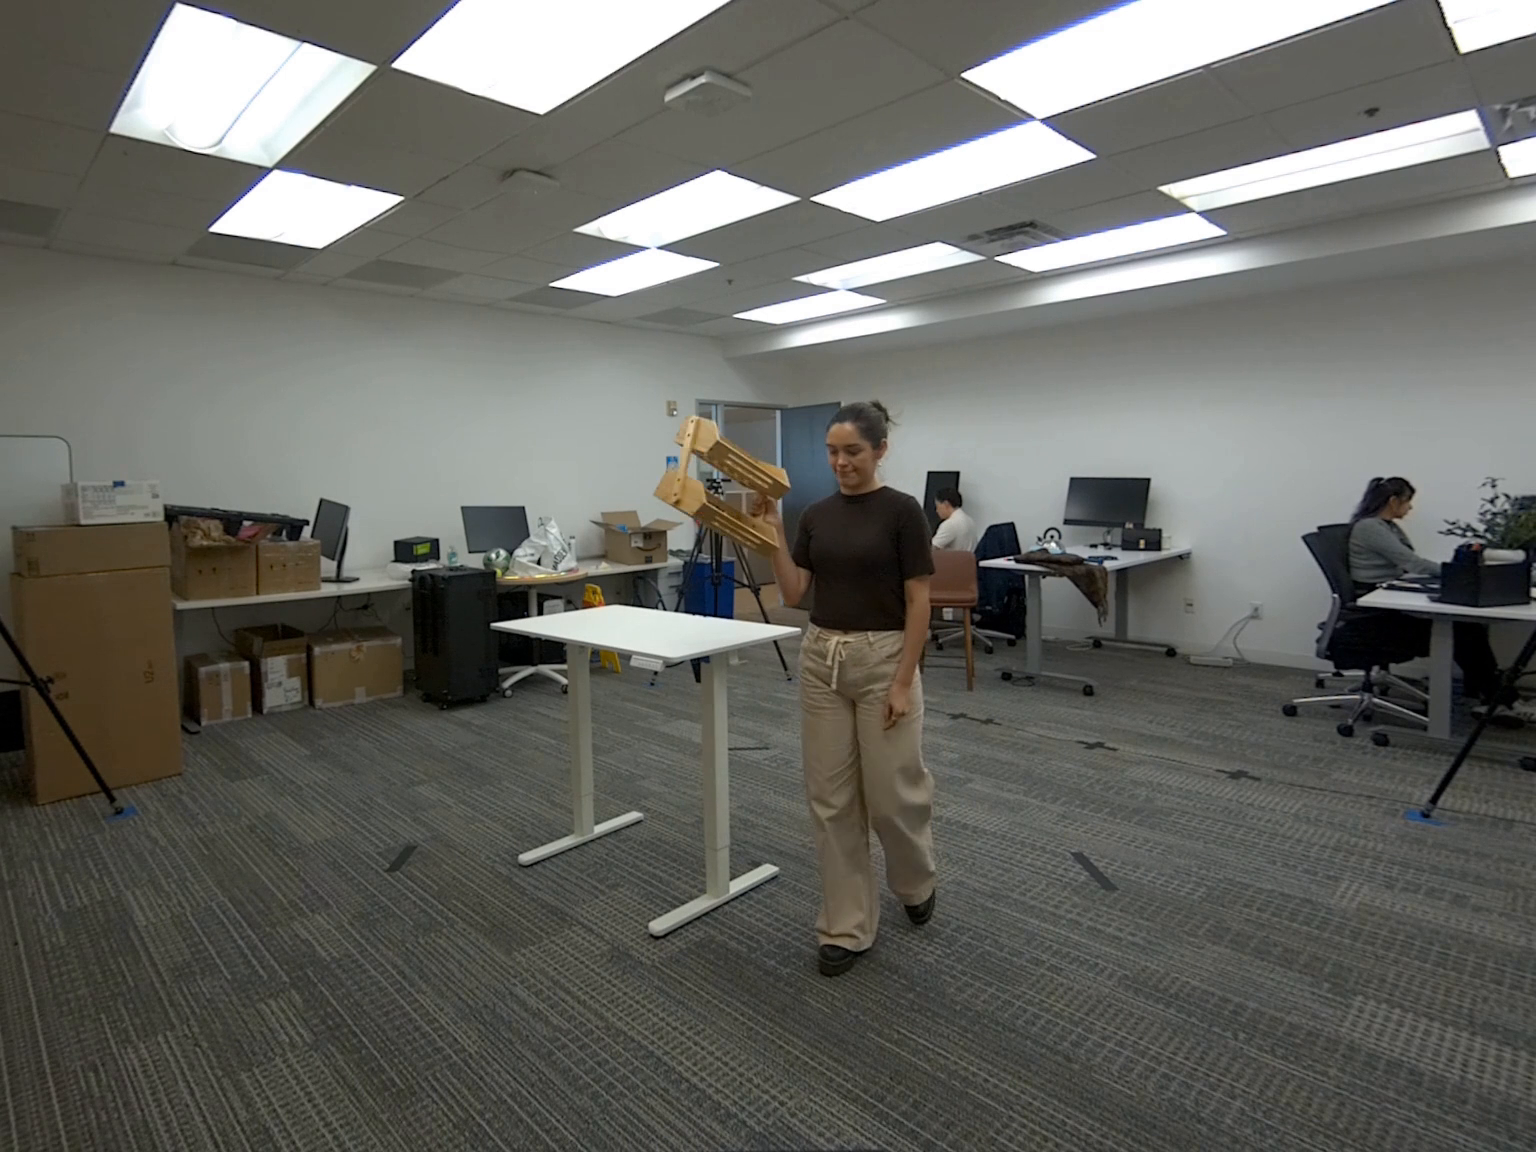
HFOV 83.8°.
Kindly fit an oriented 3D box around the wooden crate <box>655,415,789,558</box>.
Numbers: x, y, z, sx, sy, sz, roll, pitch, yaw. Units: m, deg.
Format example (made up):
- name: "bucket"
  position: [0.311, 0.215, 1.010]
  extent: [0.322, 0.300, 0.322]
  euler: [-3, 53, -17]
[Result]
- name: "wooden crate"
  position: [-0.098, -0.259, 2.438]
  extent: [0.312, 0.273, 0.313]
  euler: [29, -2, -38]
